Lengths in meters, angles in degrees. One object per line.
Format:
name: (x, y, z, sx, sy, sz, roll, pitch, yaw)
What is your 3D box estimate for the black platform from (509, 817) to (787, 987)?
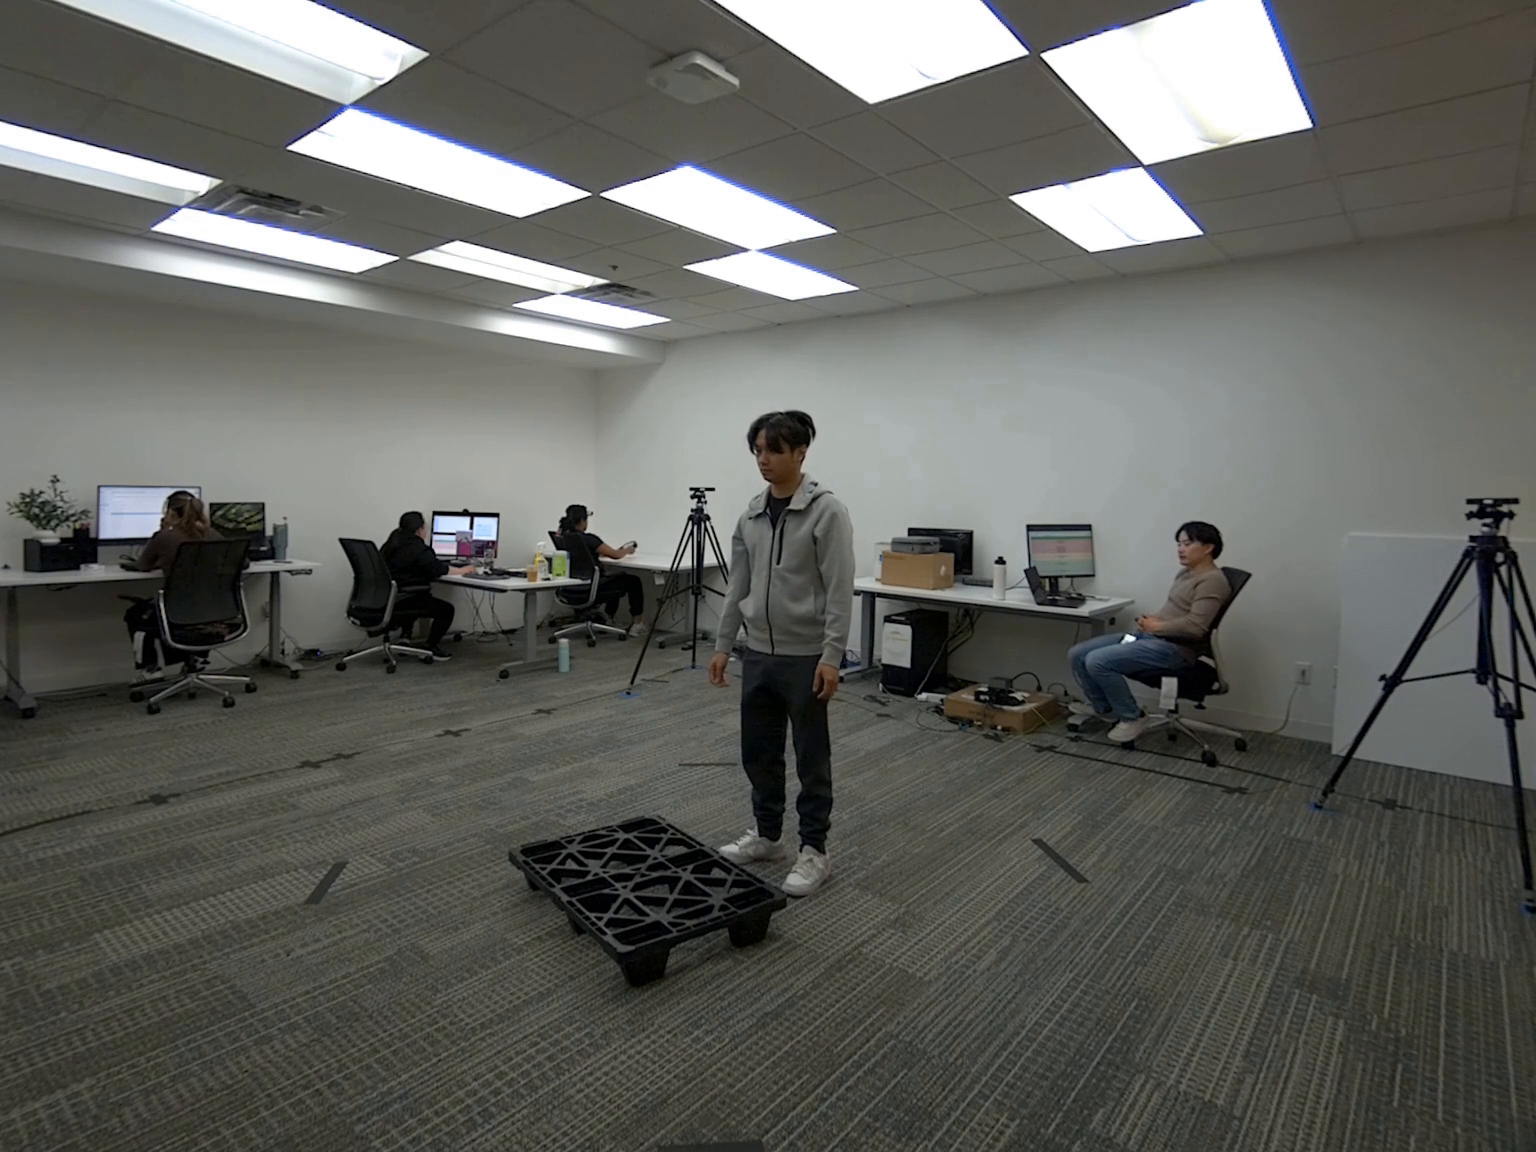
black platform: (-0.428, 1.029, 2.789, 0.587, 0.143, 0.833, -2, 6, -38)
